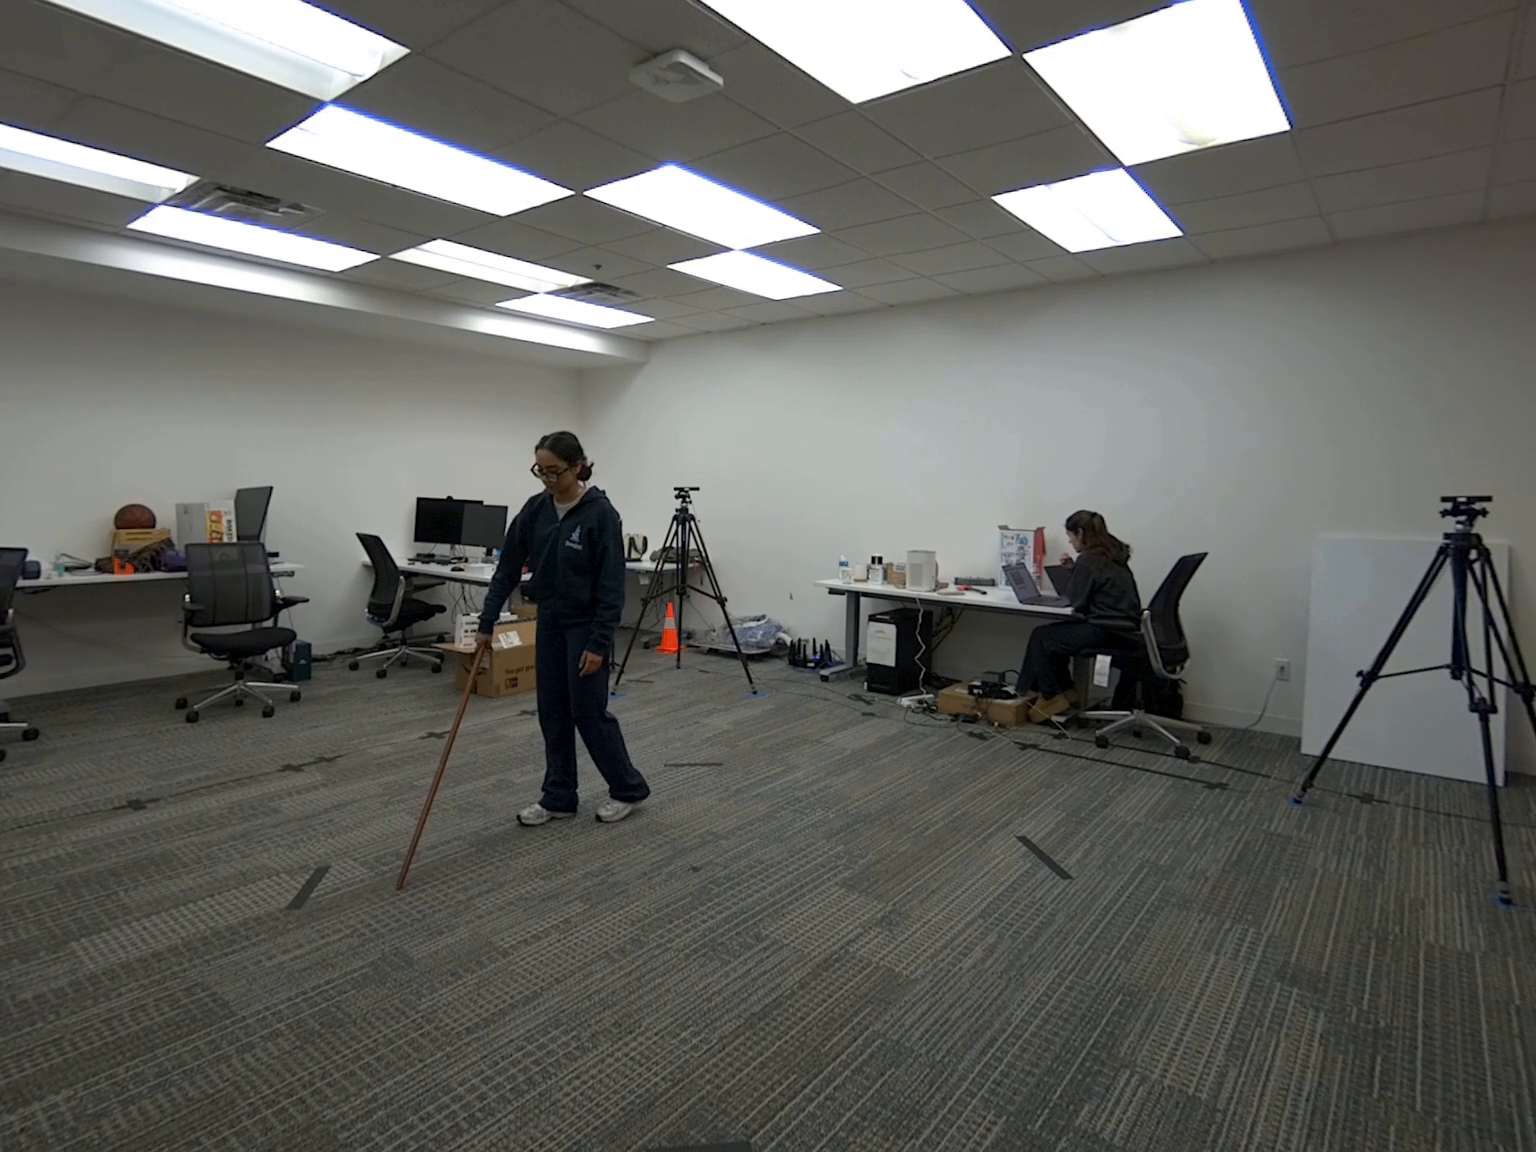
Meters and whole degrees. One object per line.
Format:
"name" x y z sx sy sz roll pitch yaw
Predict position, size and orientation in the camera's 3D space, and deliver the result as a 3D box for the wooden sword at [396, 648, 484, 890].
"wooden sword" -1.234 0.663 3.228 0.023 1.049 0.051 19 -39 -17
